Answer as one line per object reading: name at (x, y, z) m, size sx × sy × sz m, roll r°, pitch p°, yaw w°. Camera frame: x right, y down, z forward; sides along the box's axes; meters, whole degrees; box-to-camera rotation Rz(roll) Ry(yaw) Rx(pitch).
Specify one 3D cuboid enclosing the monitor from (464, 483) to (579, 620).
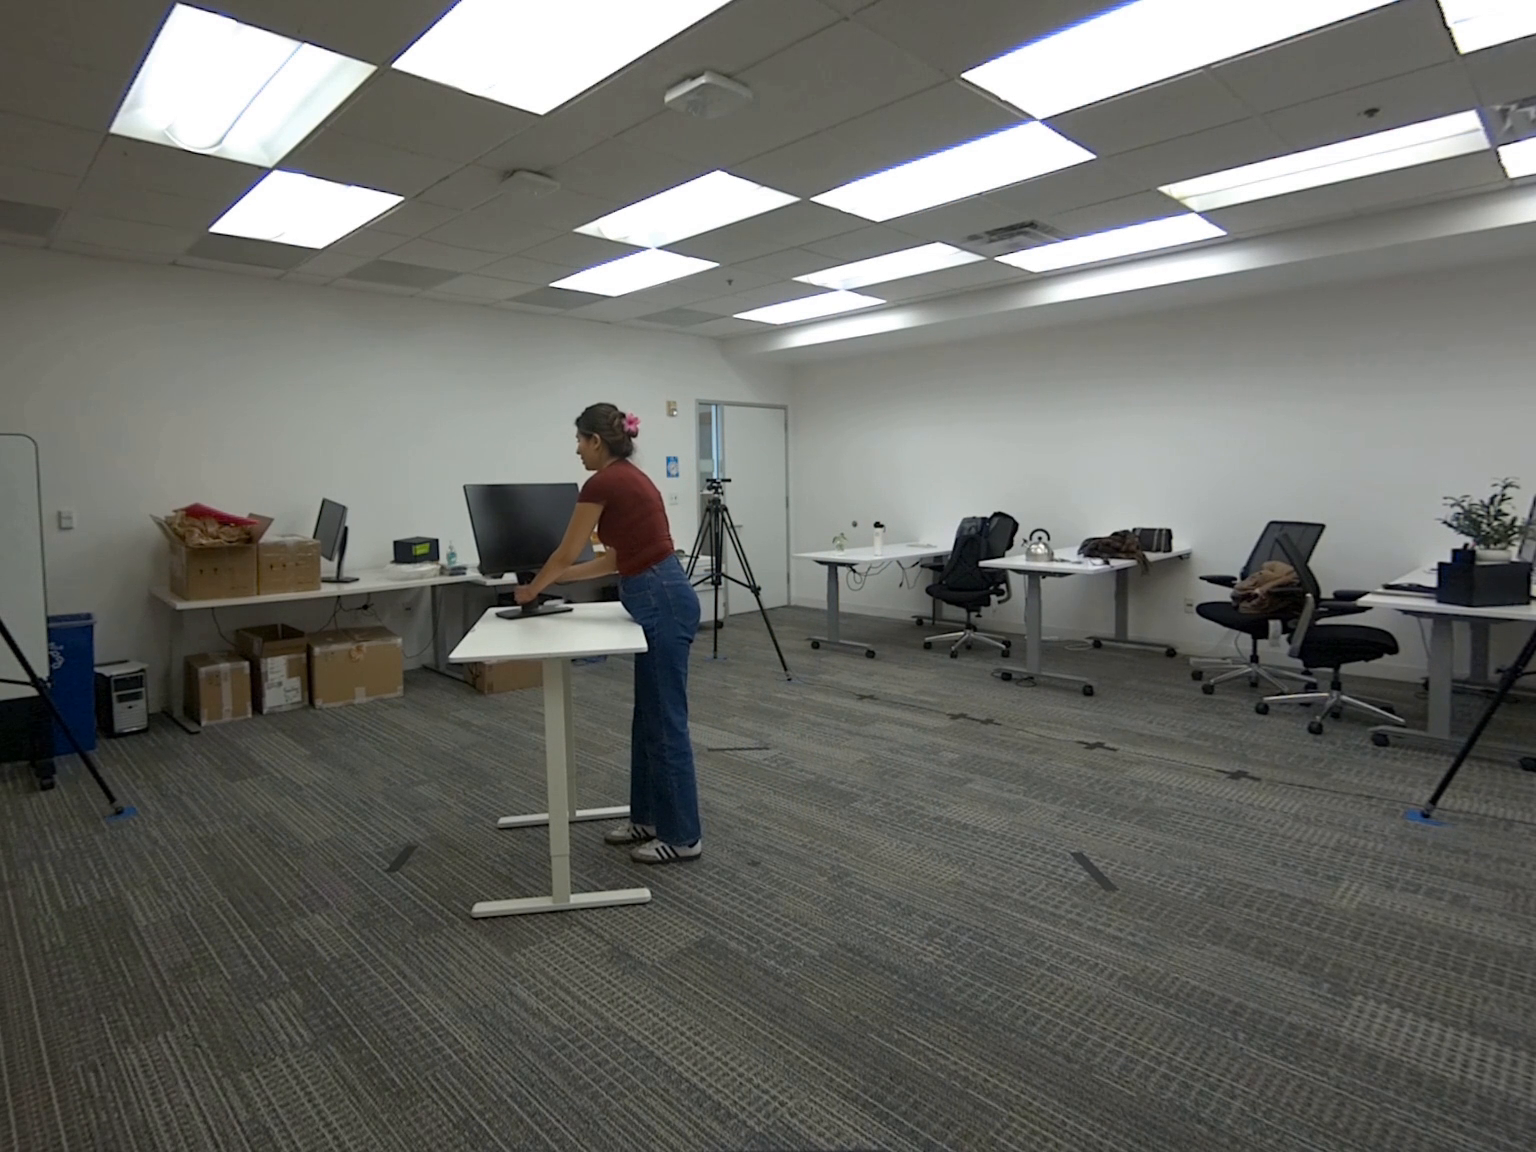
monitor at (-0.937, -0.109, 3.376) m, size 0.192 × 0.521 × 0.525 m, roll 0°, pitch 5°, yaw 42°
